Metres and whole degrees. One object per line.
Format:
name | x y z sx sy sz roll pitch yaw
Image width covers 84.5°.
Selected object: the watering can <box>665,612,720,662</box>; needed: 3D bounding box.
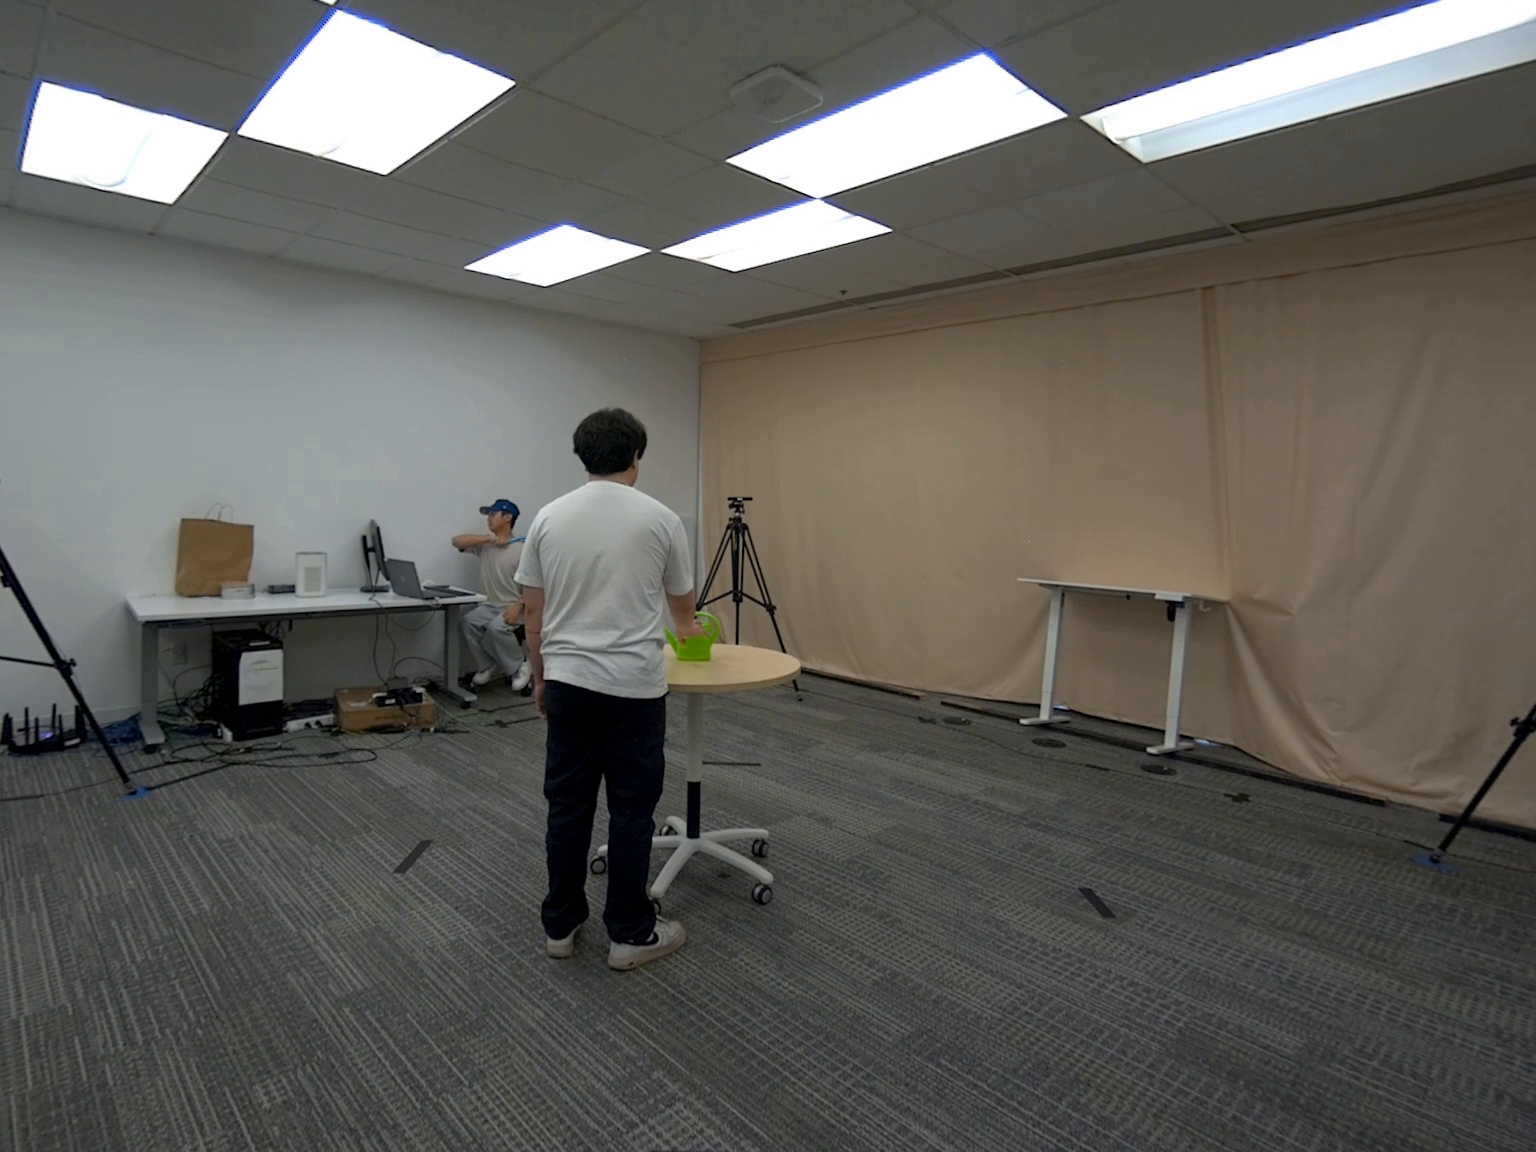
watering can | -0.323 0.227 3.151 0.284 0.177 0.096 1 -1 27
